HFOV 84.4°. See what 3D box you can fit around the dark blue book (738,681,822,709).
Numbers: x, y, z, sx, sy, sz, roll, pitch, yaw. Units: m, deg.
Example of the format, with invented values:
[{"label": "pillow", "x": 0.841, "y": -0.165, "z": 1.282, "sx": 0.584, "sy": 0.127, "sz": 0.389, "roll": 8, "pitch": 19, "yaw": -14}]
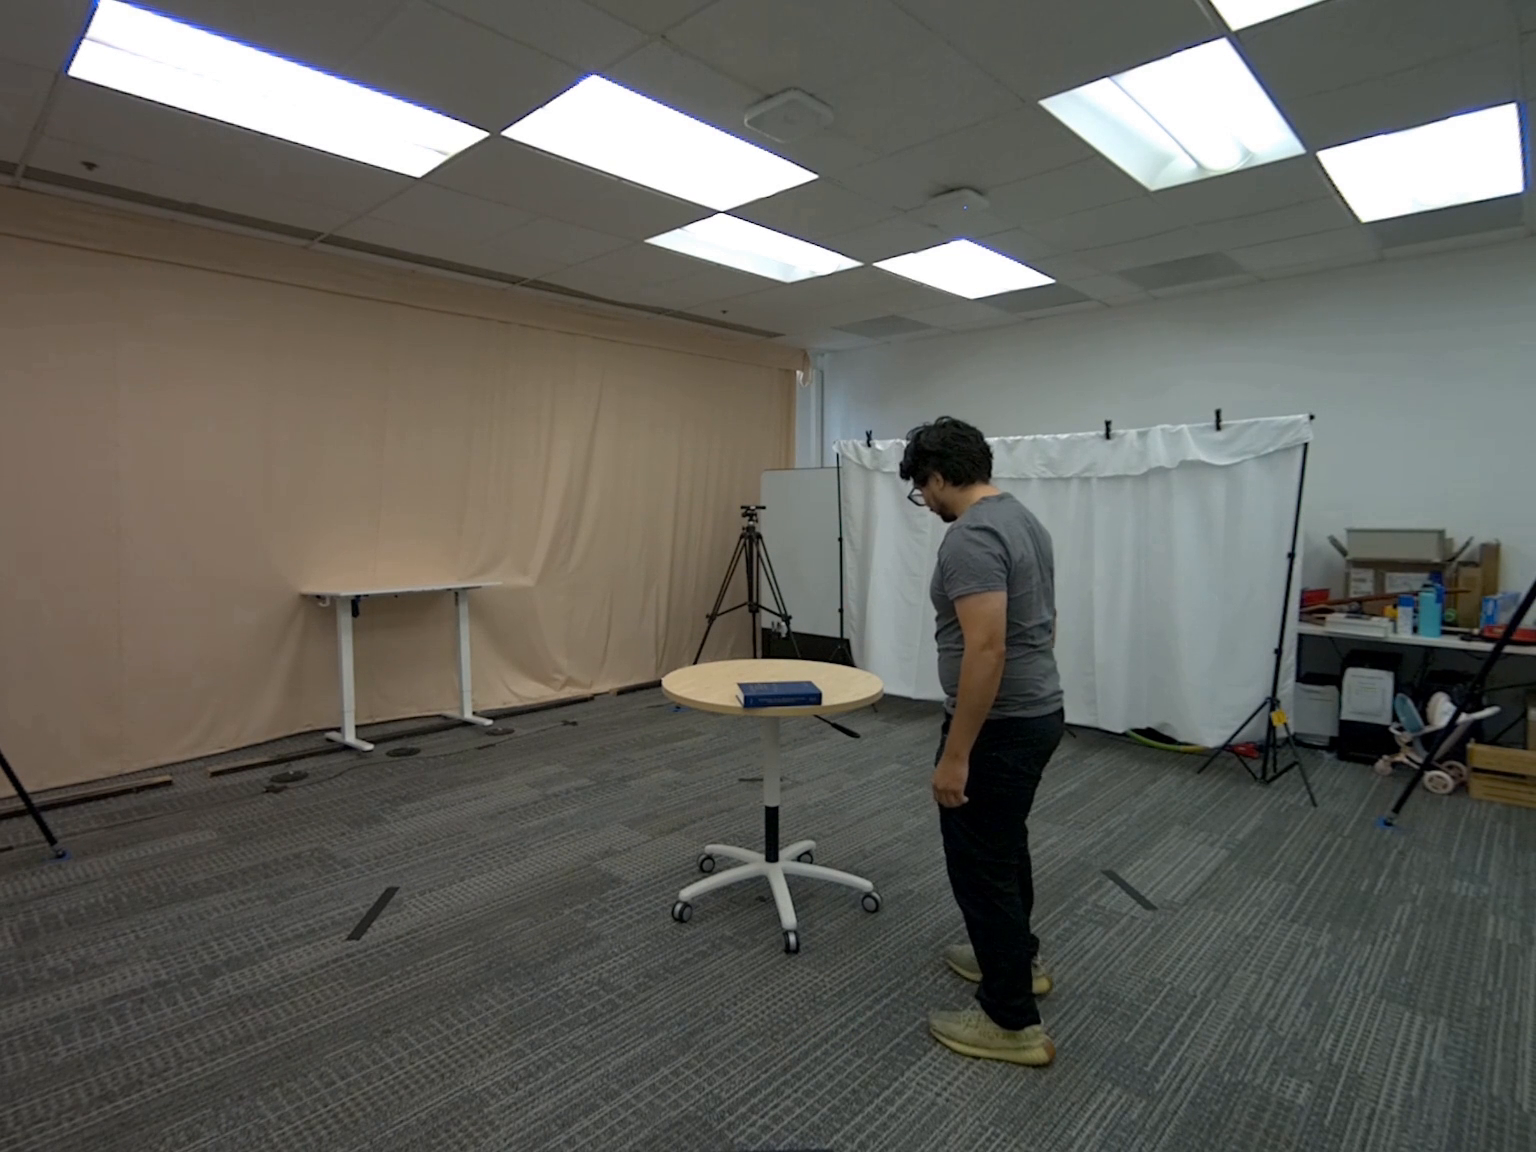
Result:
[{"label": "dark blue book", "x": 0.039, "y": 0.376, "z": 2.629, "sx": 0.243, "sy": 0.045, "sz": 0.165, "roll": -1, "pitch": 5, "yaw": -8}]
